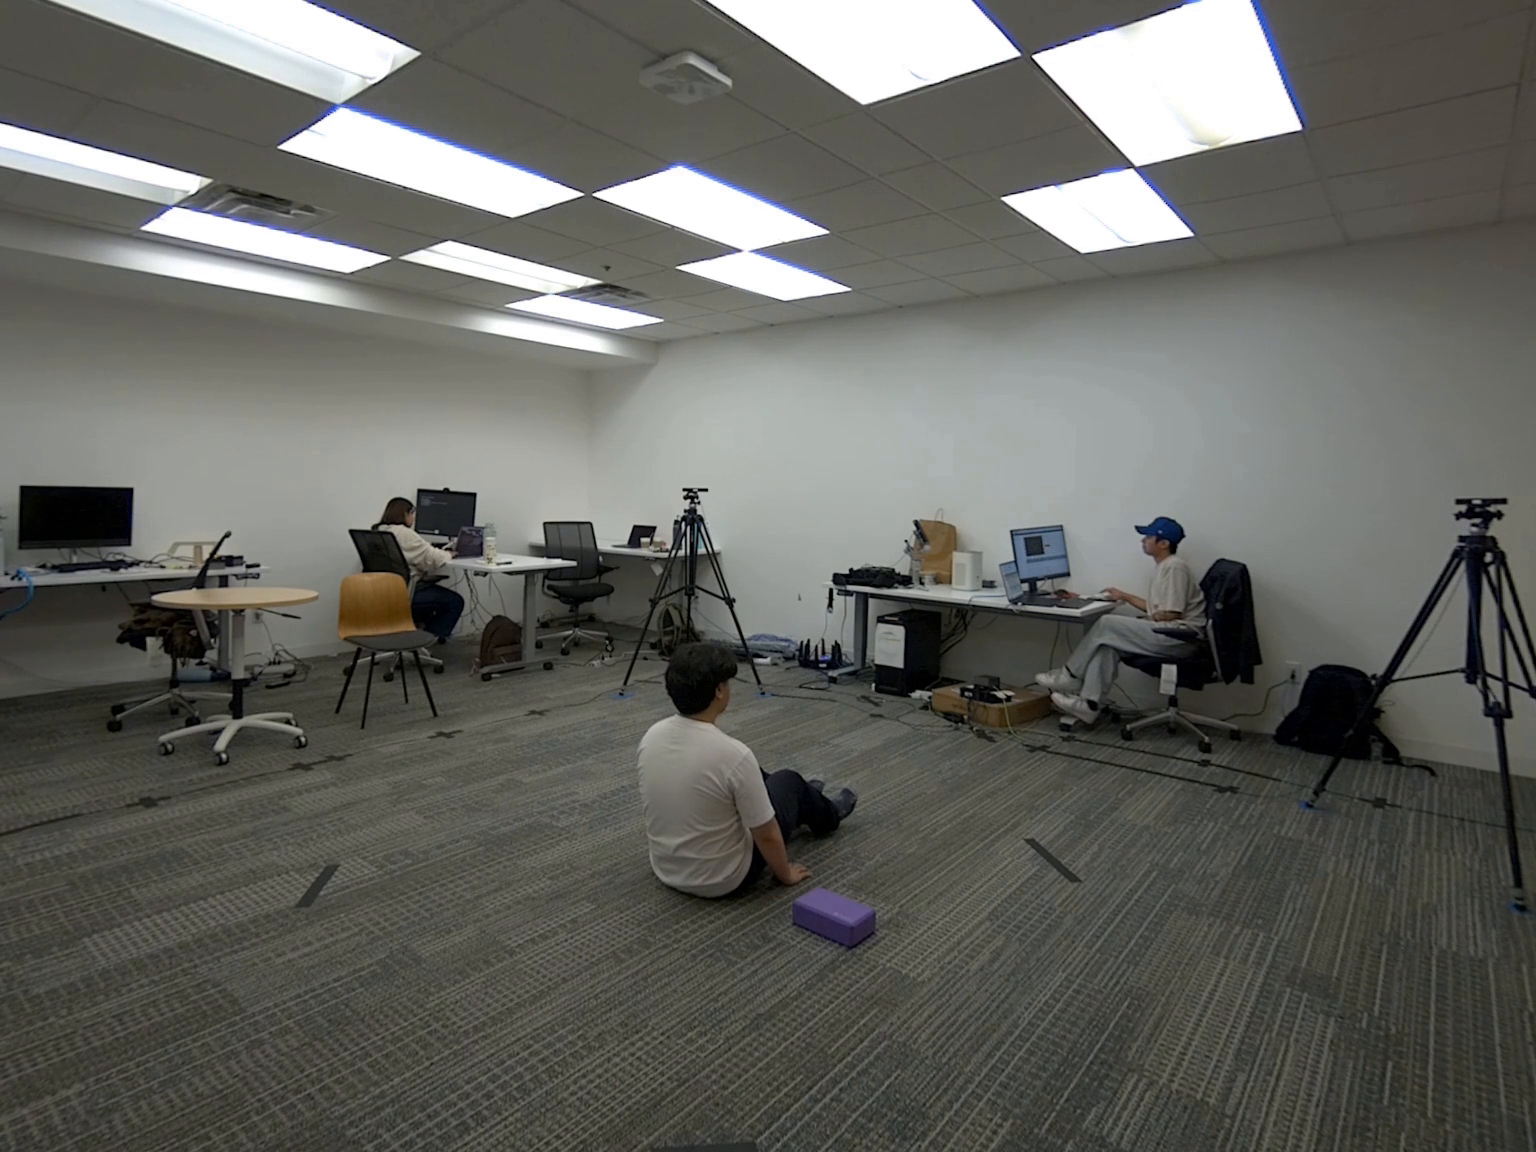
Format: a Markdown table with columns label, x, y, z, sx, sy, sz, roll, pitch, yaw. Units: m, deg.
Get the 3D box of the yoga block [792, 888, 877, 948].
| label | x | y | z | sx | sy | sz | roll | pitch | yaw |
| --- | --- | --- | --- | --- | --- | --- | --- | --- | --- |
| yoga block | 0.200 | 1.076 | 2.711 | 0.237 | 0.076 | 0.144 | 6 | 6 | 38 |
